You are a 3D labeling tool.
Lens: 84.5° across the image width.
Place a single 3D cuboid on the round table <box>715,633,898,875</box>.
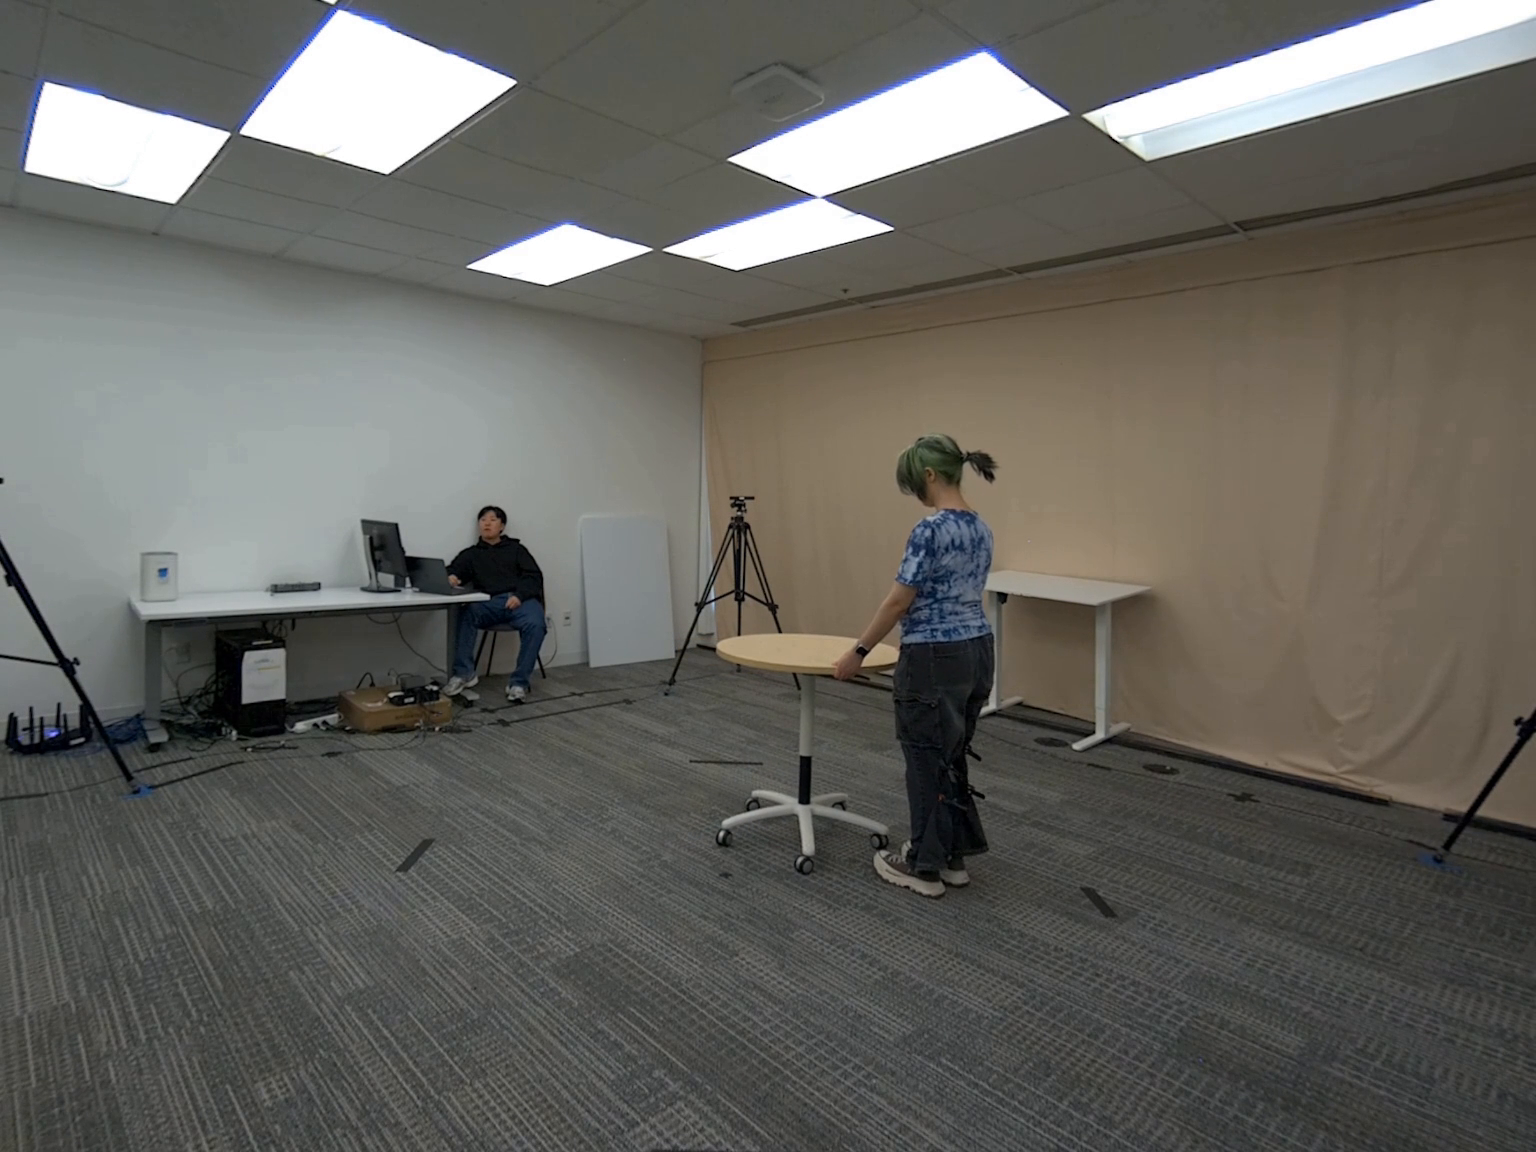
[{"bbox_3d":[0.142,0.691,3.462,0.763,0.792,0.766,2,4,-1],"label":"round table"}]
